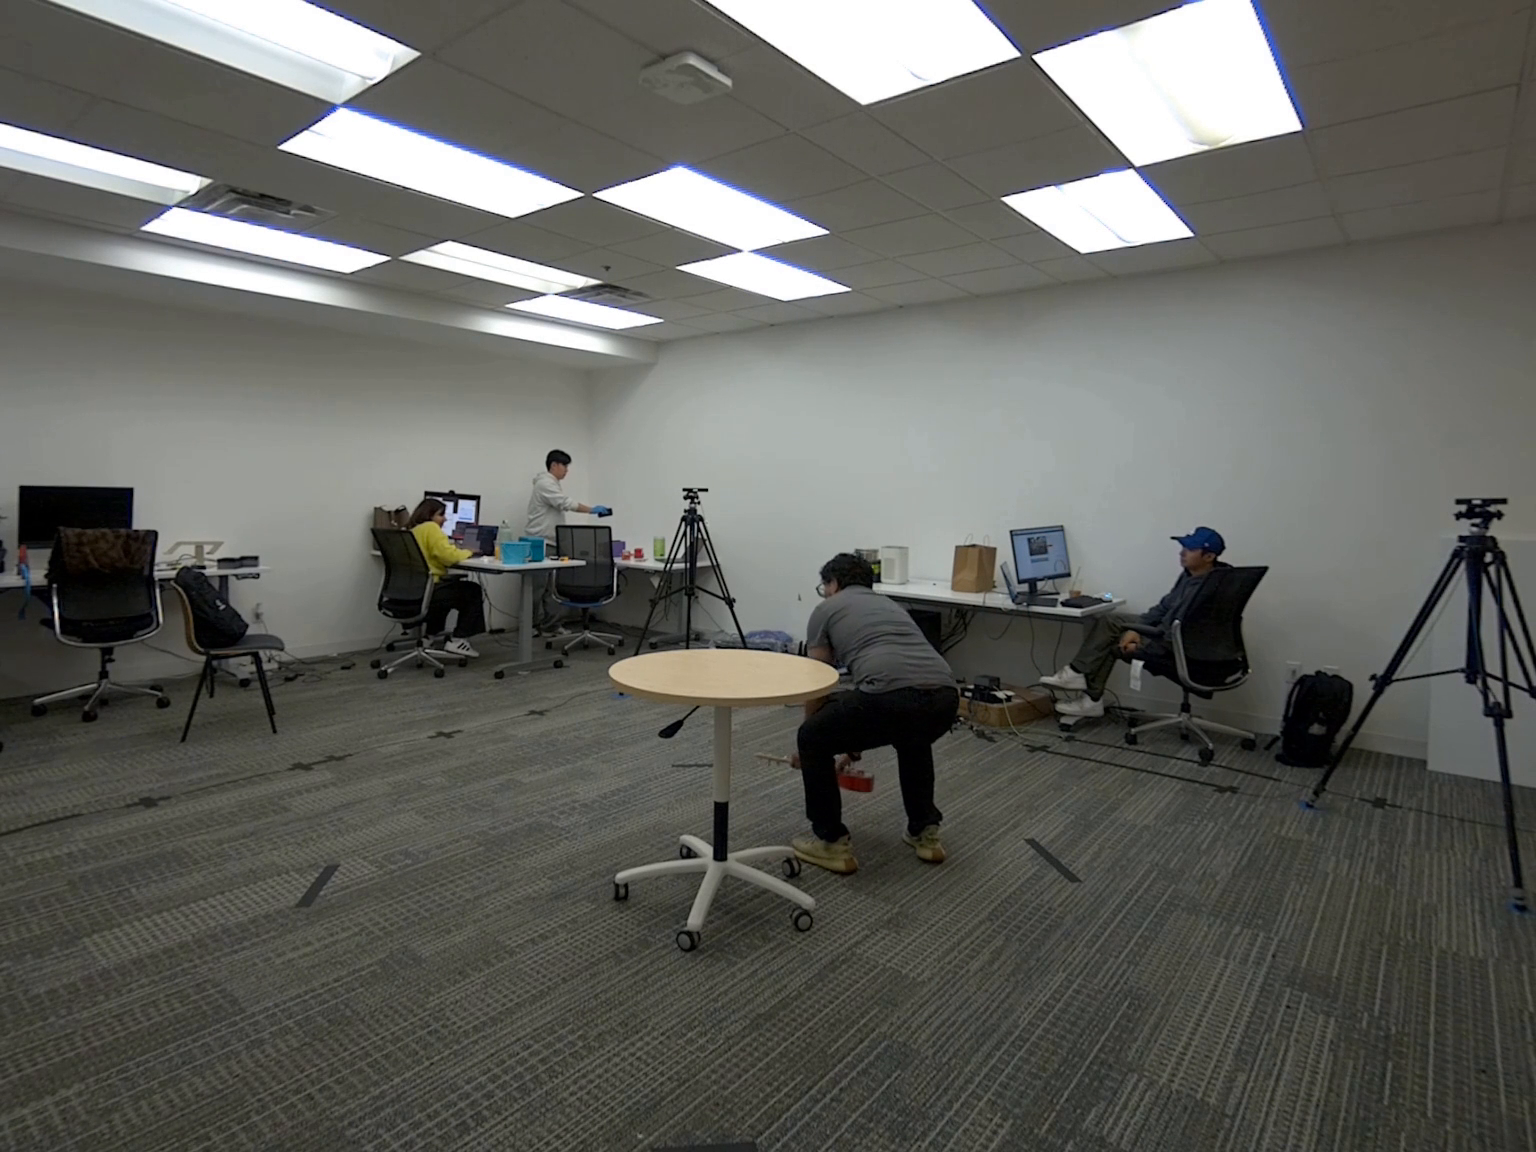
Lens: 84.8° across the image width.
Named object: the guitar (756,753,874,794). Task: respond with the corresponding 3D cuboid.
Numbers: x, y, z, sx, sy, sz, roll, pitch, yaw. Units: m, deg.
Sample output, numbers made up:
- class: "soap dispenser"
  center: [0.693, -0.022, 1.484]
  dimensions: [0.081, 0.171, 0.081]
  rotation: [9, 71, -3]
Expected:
- class: "guitar"
  center: [0.199, 0.805, 3.544]
  dimensions: [0.510, 0.071, 0.188]
  rotation: [7, -2, 23]
